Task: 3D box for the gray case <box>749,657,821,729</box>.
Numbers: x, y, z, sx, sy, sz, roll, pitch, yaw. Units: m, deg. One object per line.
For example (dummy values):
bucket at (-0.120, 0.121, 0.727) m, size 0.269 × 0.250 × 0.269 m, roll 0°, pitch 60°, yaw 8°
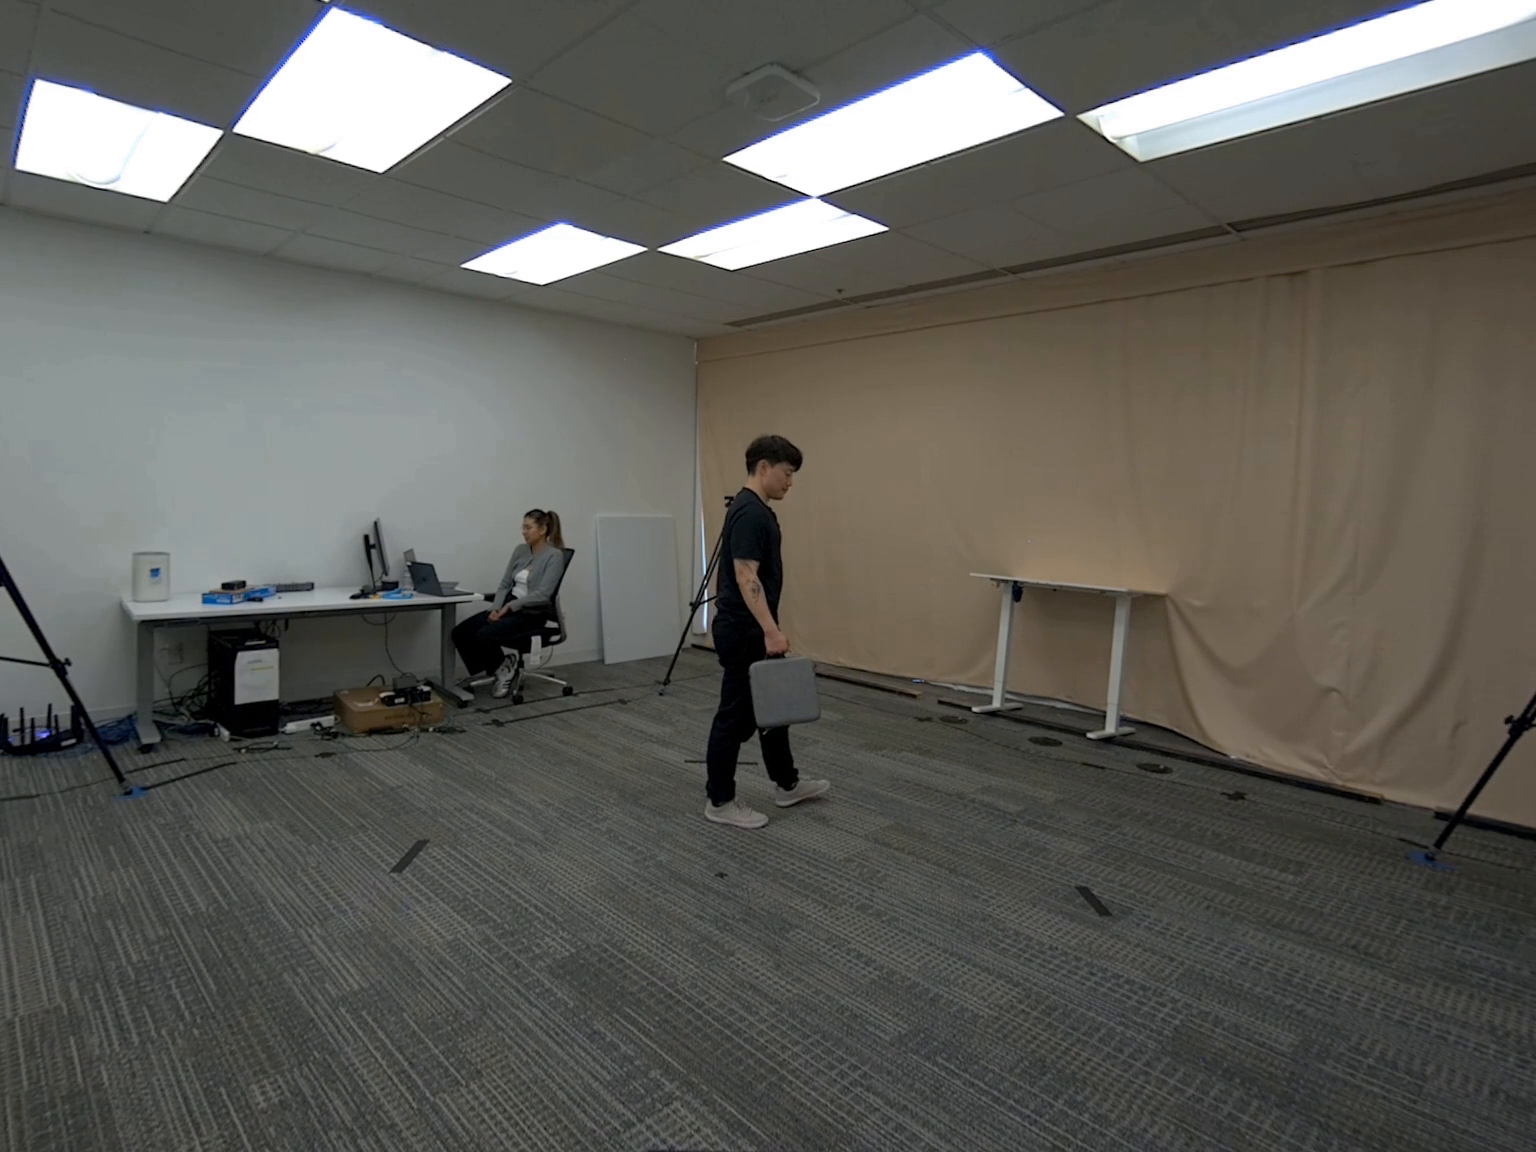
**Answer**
gray case at (0.052, 0.449, 3.291) m, size 0.257 × 0.262 × 0.103 m, roll -8°, pitch -9°, yaw 1°
